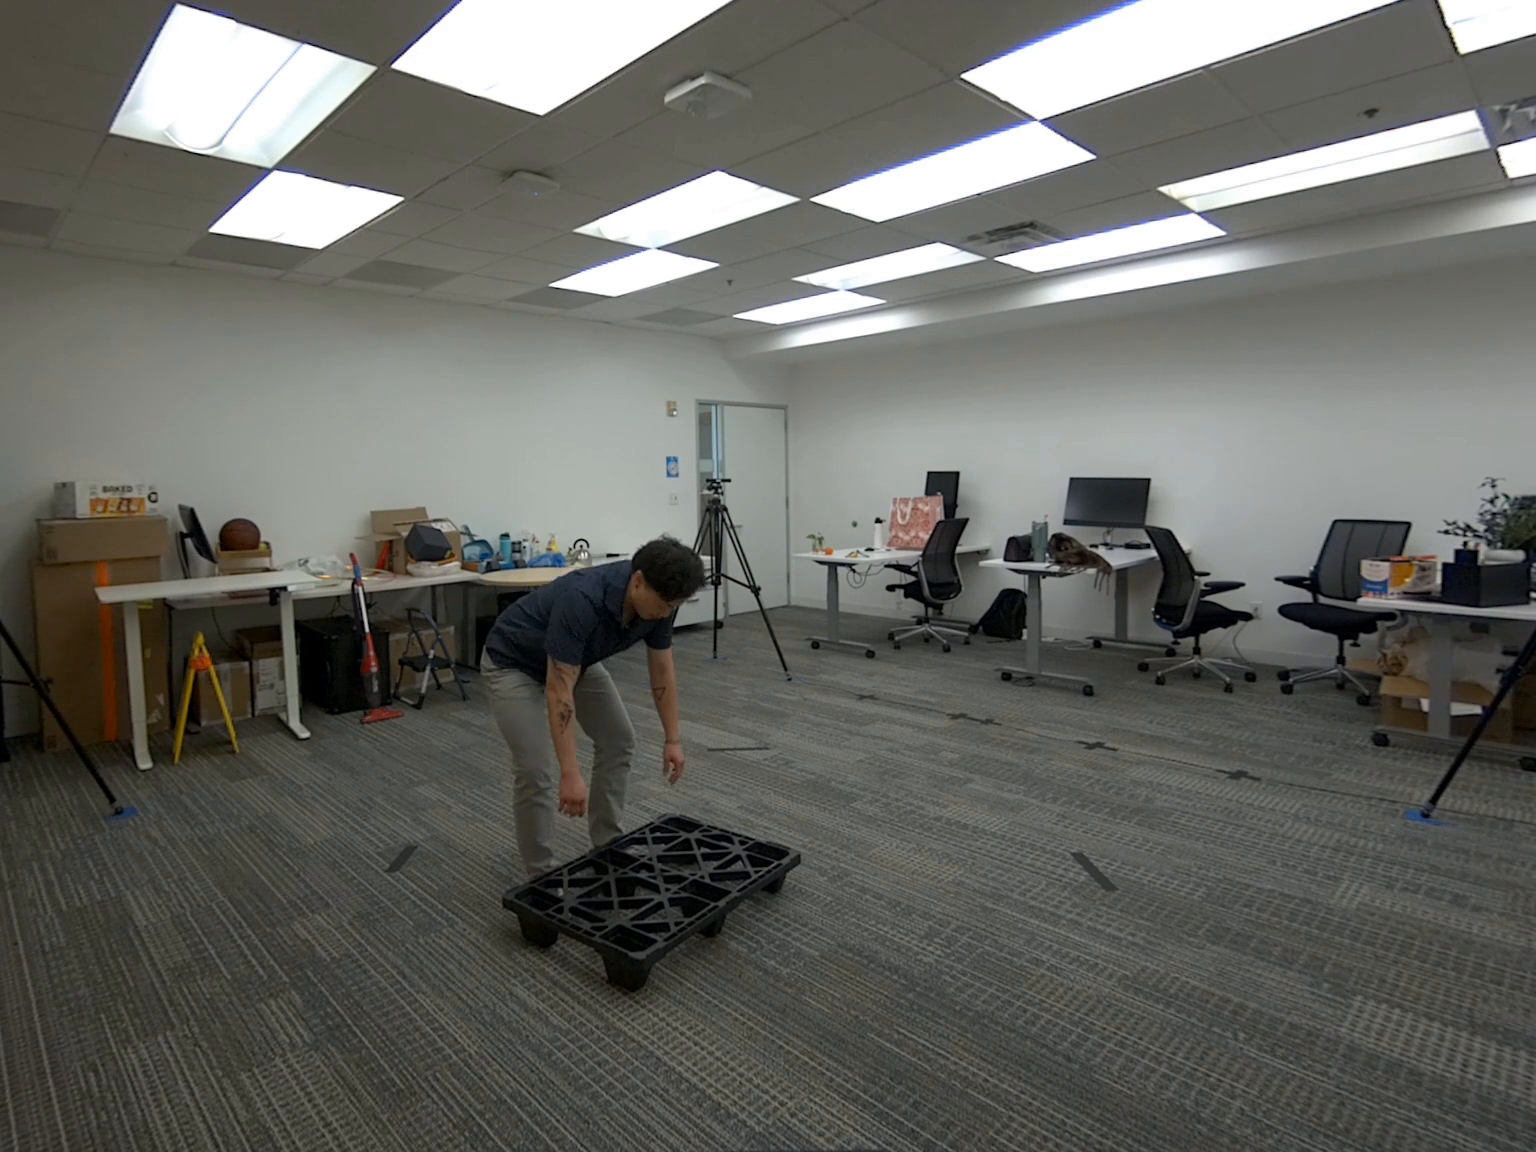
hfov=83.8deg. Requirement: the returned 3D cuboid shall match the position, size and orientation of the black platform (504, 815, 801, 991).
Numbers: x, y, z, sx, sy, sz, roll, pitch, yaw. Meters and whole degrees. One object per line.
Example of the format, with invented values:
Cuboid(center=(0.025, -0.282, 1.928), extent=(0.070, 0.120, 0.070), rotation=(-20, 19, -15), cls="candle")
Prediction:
Cuboid(center=(-0.352, 1.024, 2.761), extent=(0.623, 0.142, 0.786), rotation=(3, 8, 36), cls="black platform")
